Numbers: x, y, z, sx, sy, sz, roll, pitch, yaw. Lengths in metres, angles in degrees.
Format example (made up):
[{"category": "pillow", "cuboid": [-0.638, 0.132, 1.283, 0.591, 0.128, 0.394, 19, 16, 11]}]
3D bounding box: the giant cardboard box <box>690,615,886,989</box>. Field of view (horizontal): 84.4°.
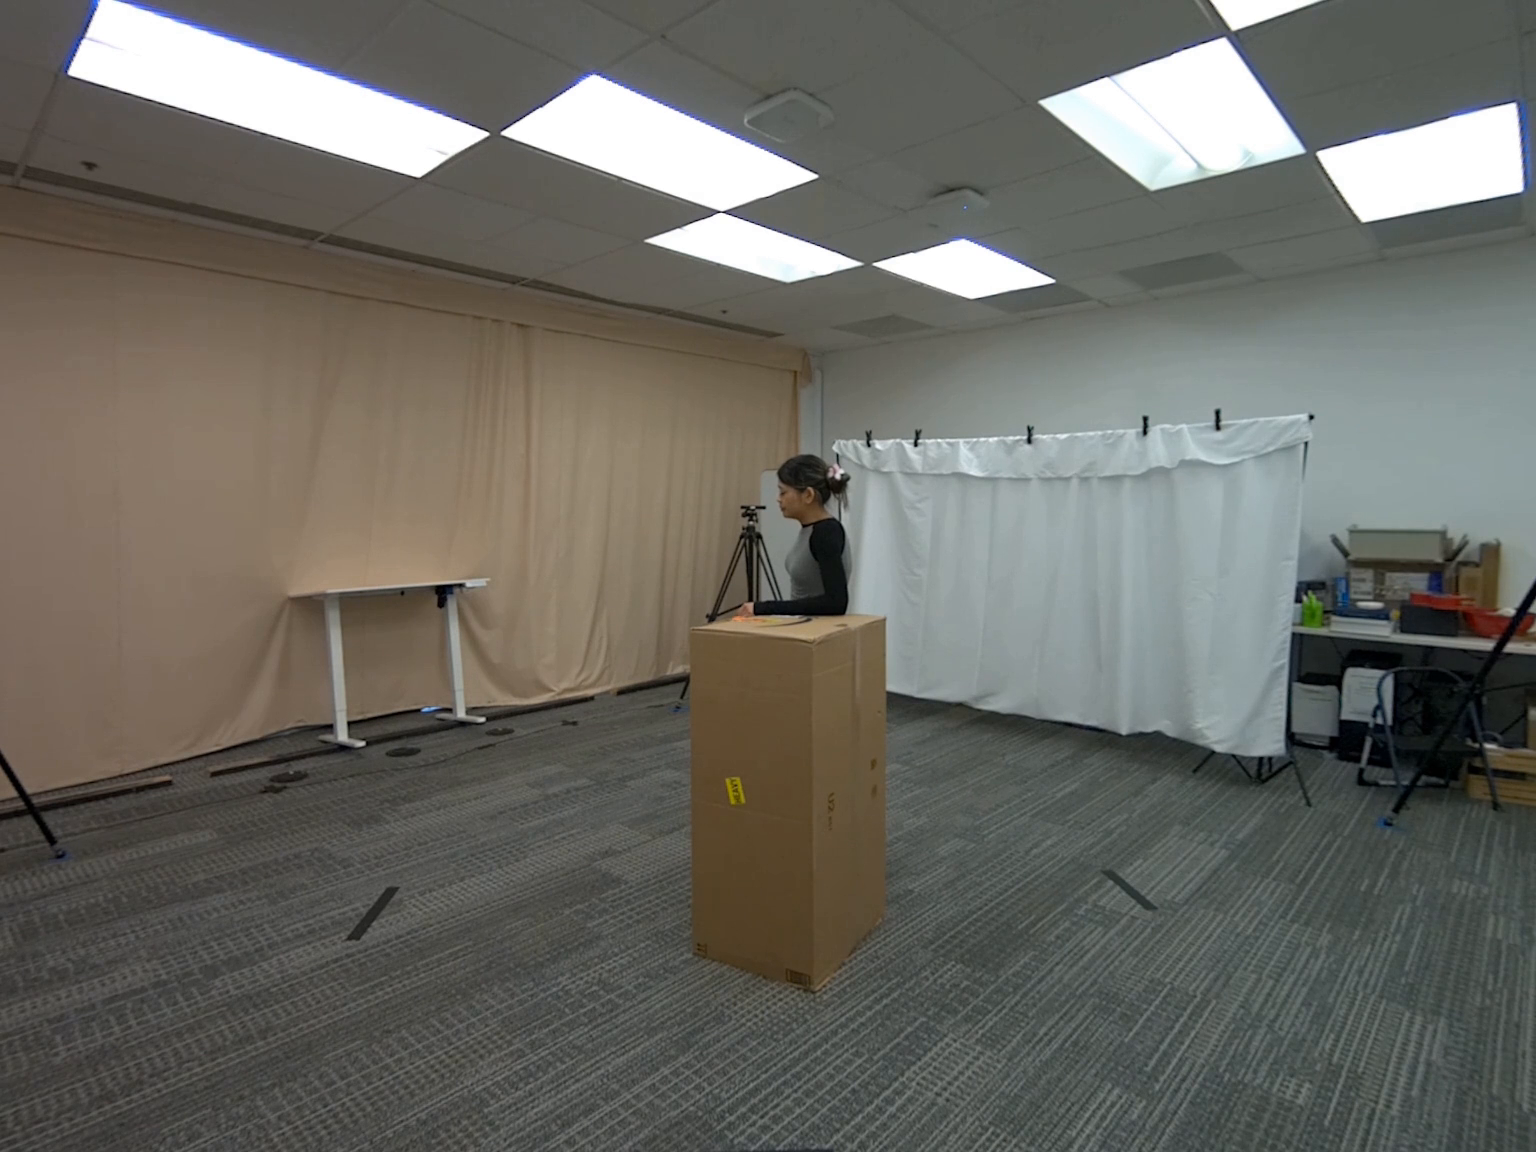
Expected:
[{"category": "giant cardboard box", "cuboid": [0.082, 0.657, 2.725, 0.439, 1.024, 0.562, 2, 3, 31]}]
